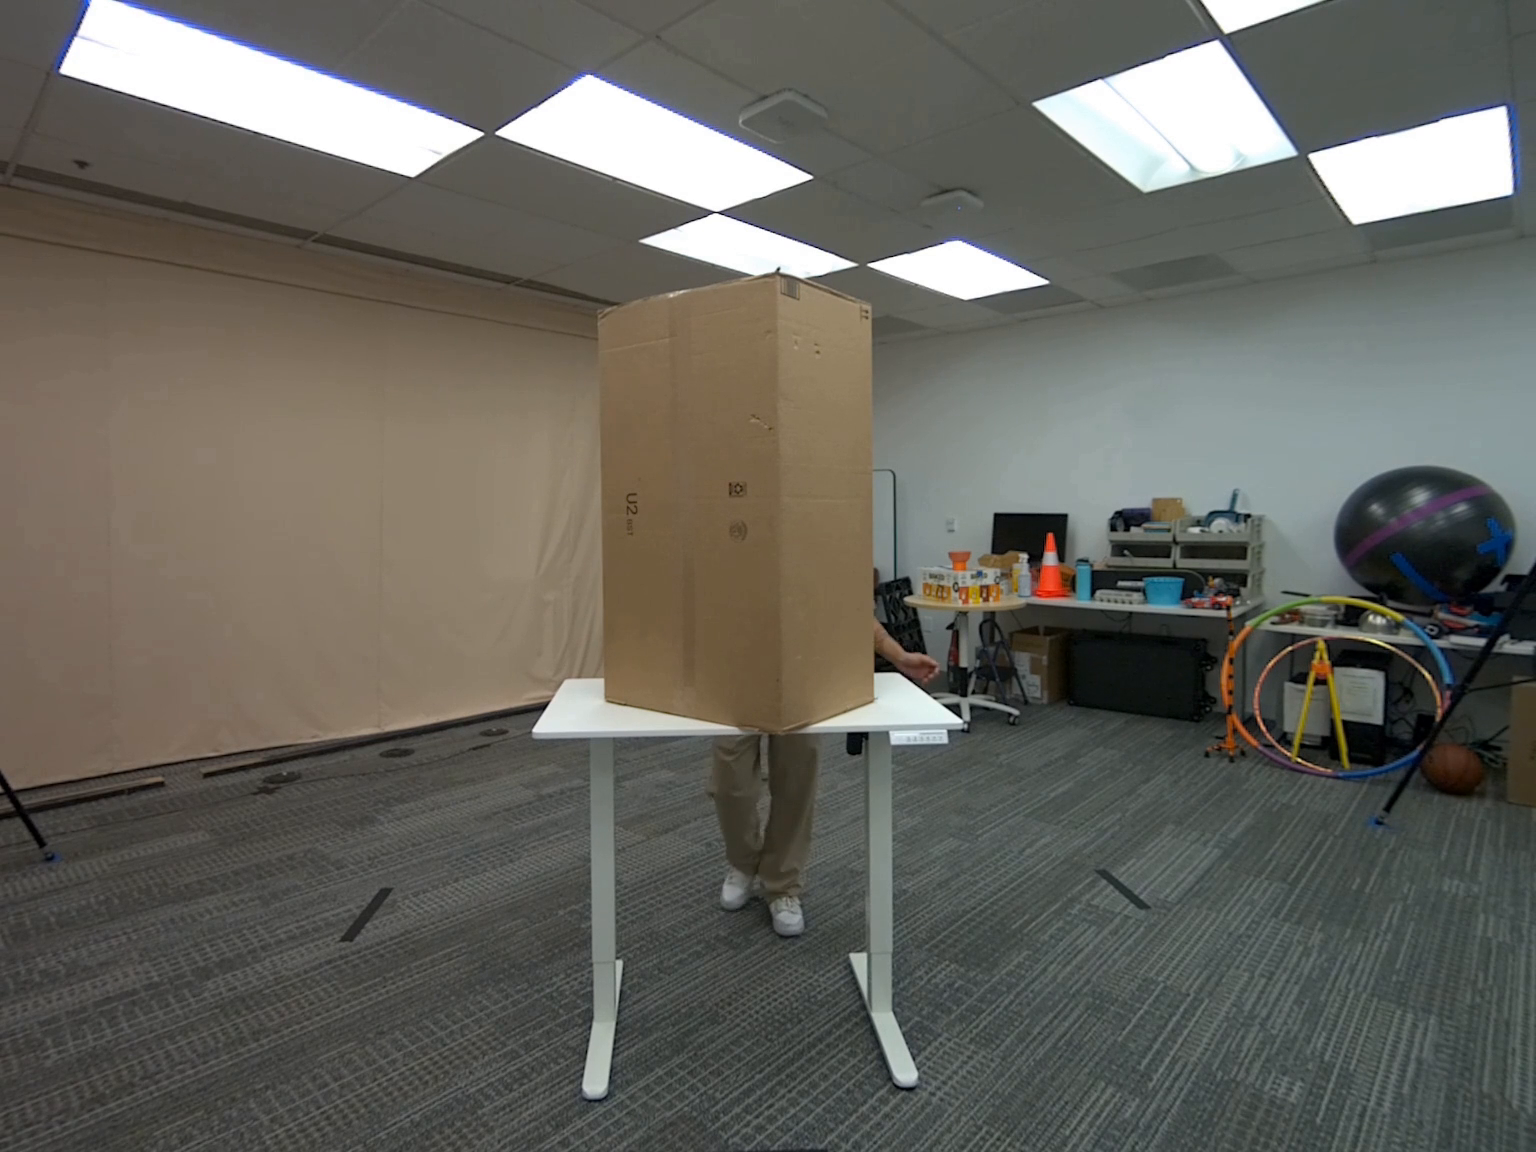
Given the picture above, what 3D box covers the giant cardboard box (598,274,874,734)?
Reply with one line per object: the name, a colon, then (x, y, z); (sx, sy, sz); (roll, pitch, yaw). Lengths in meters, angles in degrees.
giant cardboard box: (-0.079, -0.182, 2.179); (0.596, 1.024, 0.413); (1, 3, 38)
